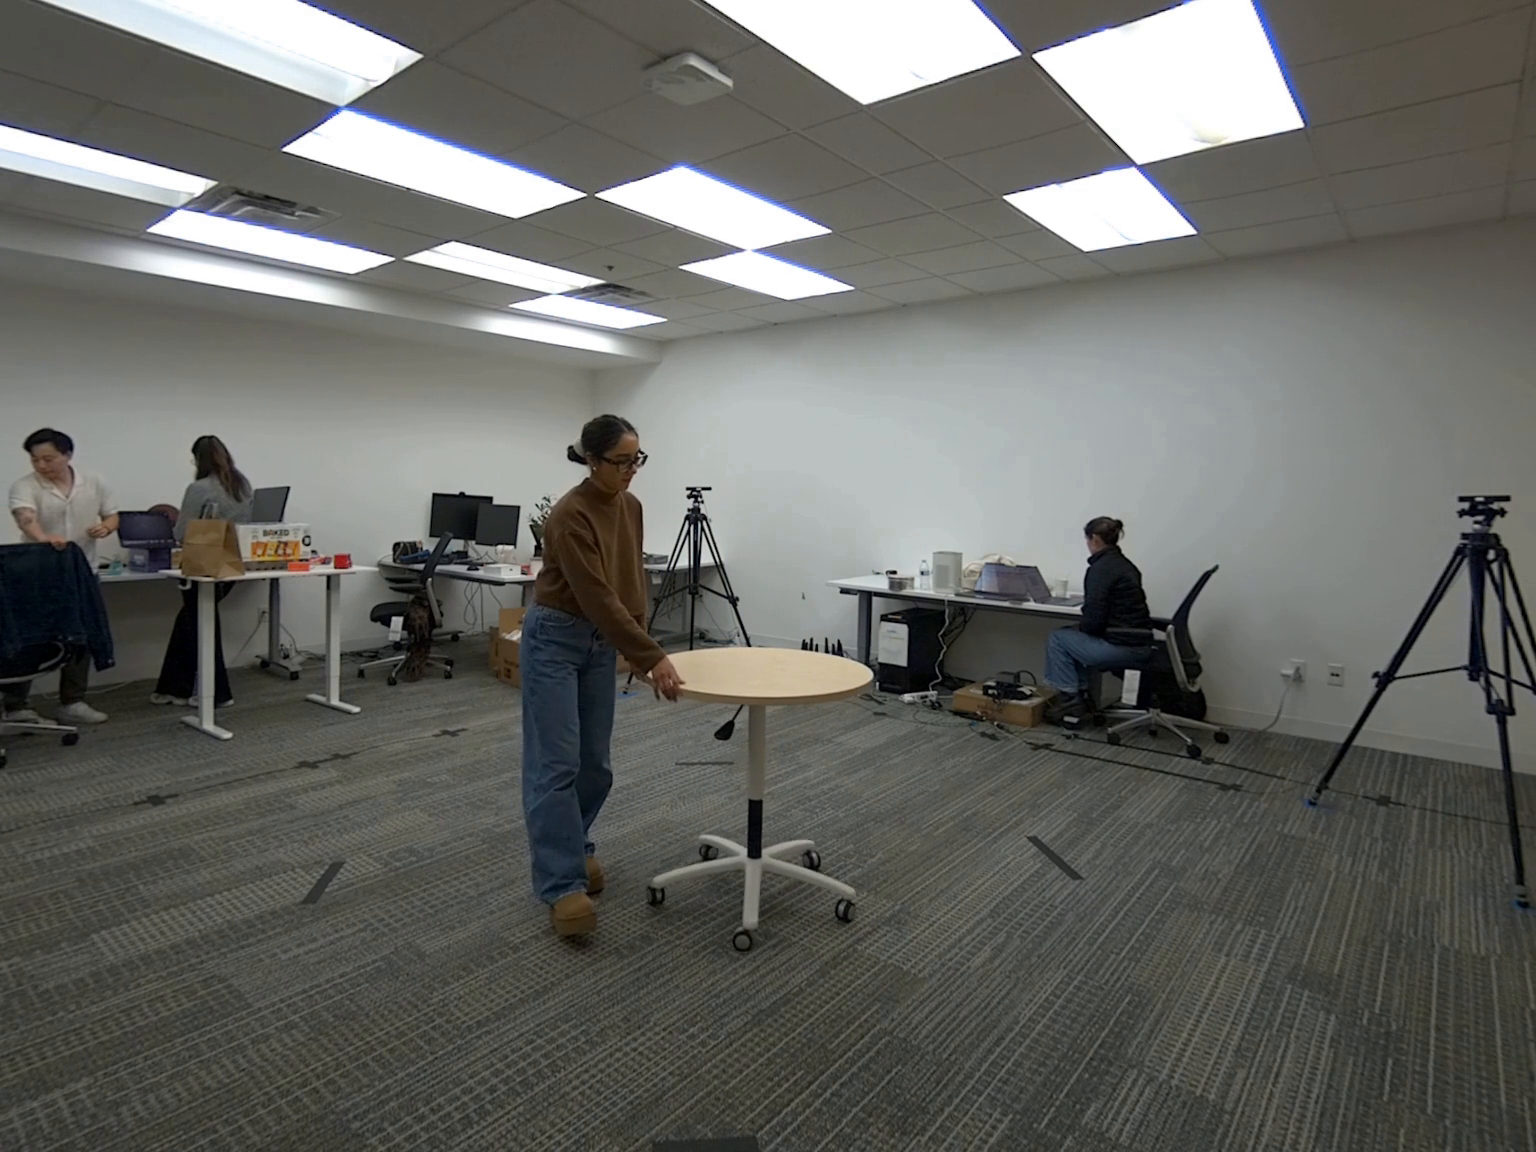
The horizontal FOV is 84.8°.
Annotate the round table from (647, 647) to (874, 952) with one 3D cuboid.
[{"bbox_3d":[-0.054,0.702,2.864,0.784,0.784,0.789,0,4,-2],"label":"round table"}]
